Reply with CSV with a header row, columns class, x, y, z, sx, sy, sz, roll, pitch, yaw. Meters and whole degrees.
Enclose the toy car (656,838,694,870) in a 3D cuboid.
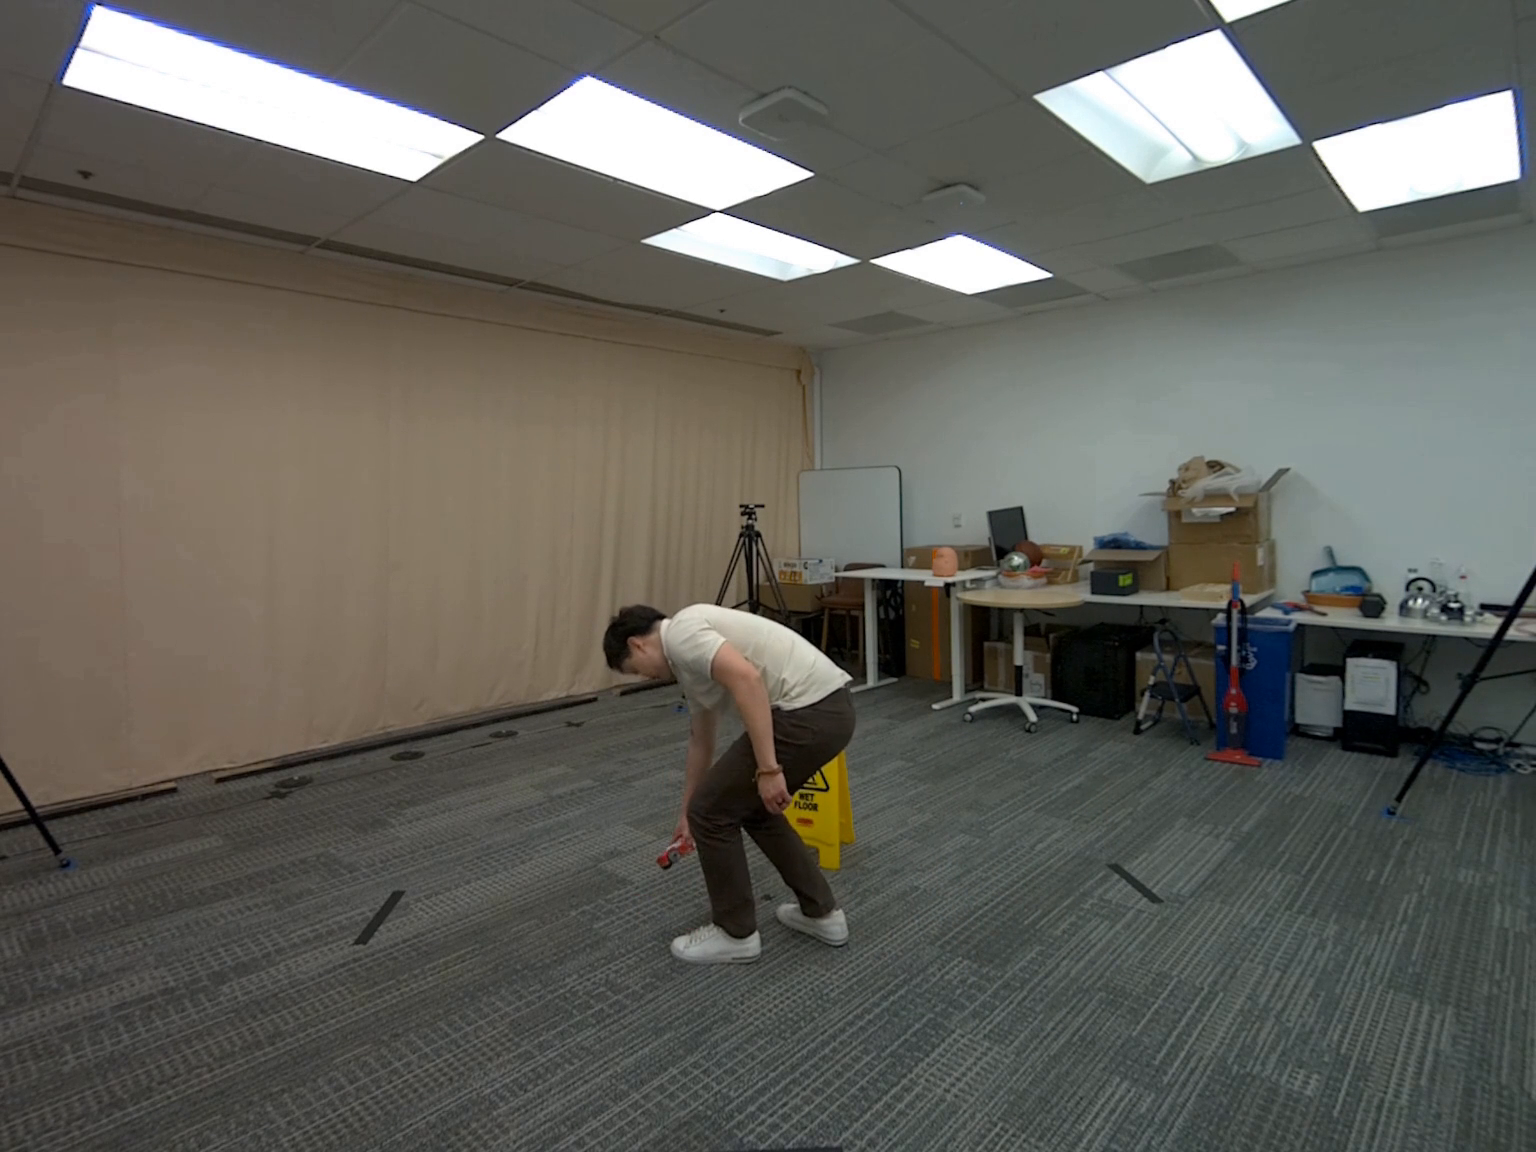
class,x,y,z,sx,sy,sz,roll,pitch,yaw
toy car,-0.256,0.914,2.871,0.250,0.085,0.130,-29,-17,-34
